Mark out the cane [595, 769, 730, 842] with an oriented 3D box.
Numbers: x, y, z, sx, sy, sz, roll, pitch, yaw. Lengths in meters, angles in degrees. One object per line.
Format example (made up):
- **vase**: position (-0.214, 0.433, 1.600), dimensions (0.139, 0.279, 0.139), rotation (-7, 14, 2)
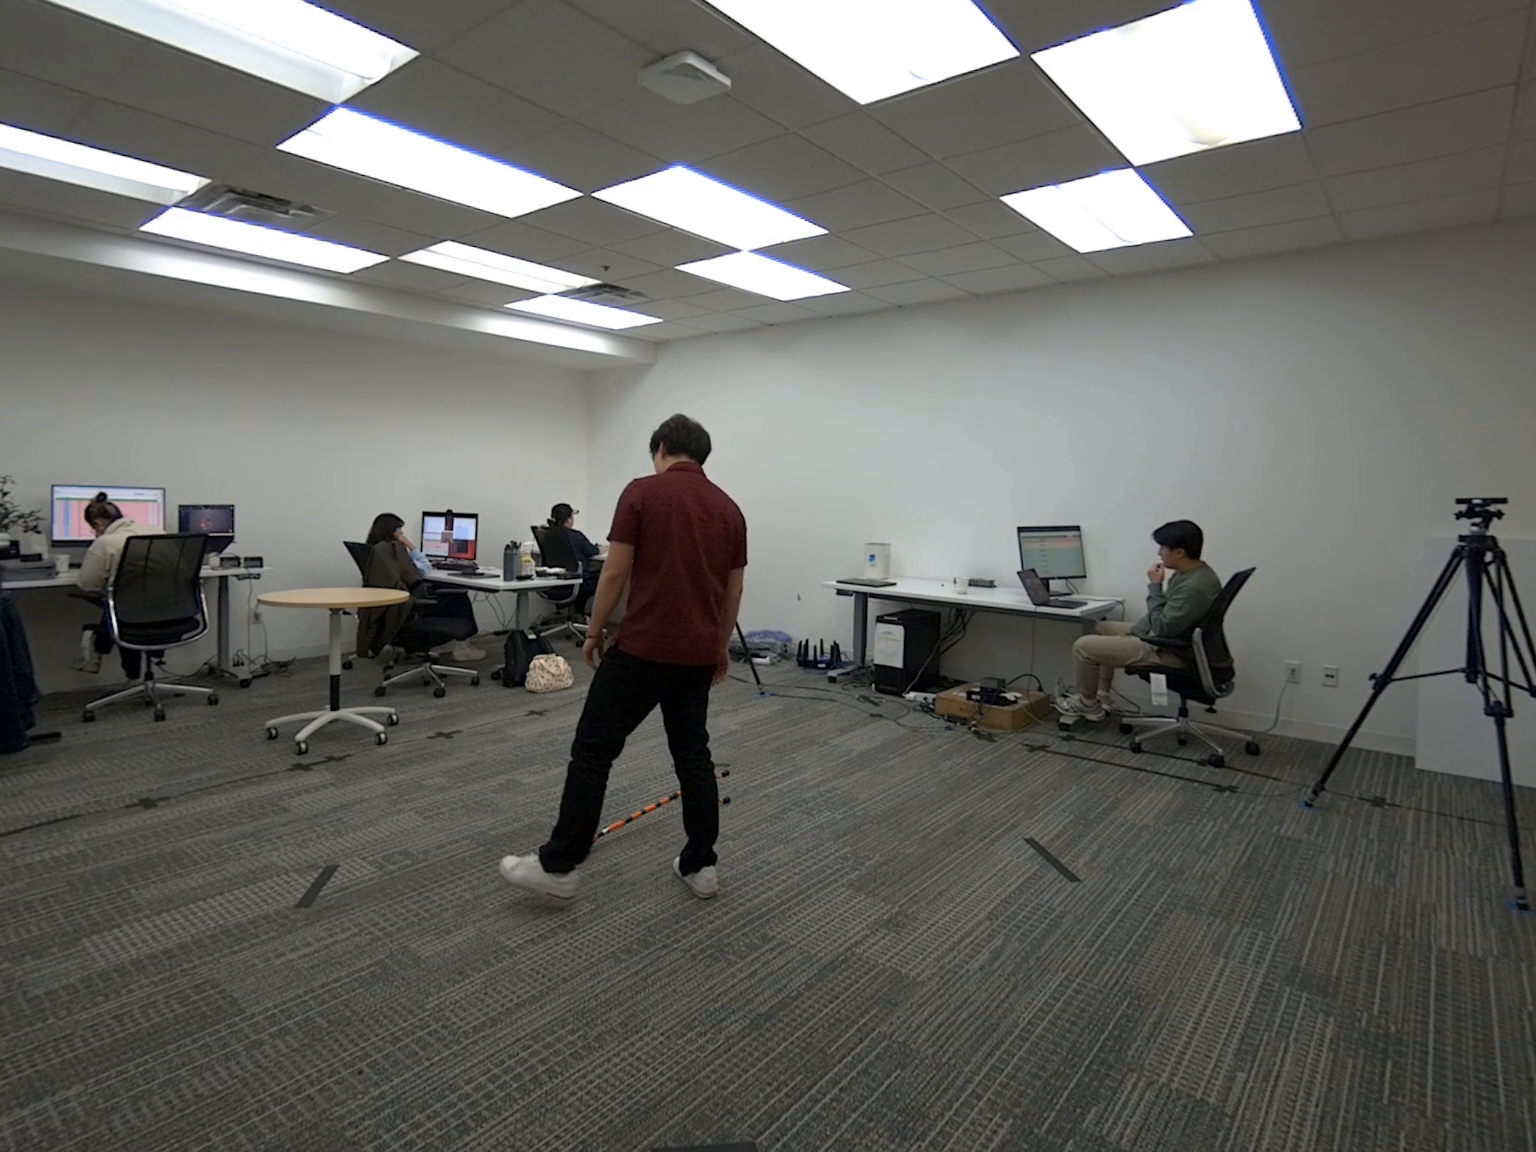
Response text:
- **cane**: position (-0.529, 0.982, 3.491), dimensions (0.213, 0.150, 0.885), rotation (4, 11, 38)
